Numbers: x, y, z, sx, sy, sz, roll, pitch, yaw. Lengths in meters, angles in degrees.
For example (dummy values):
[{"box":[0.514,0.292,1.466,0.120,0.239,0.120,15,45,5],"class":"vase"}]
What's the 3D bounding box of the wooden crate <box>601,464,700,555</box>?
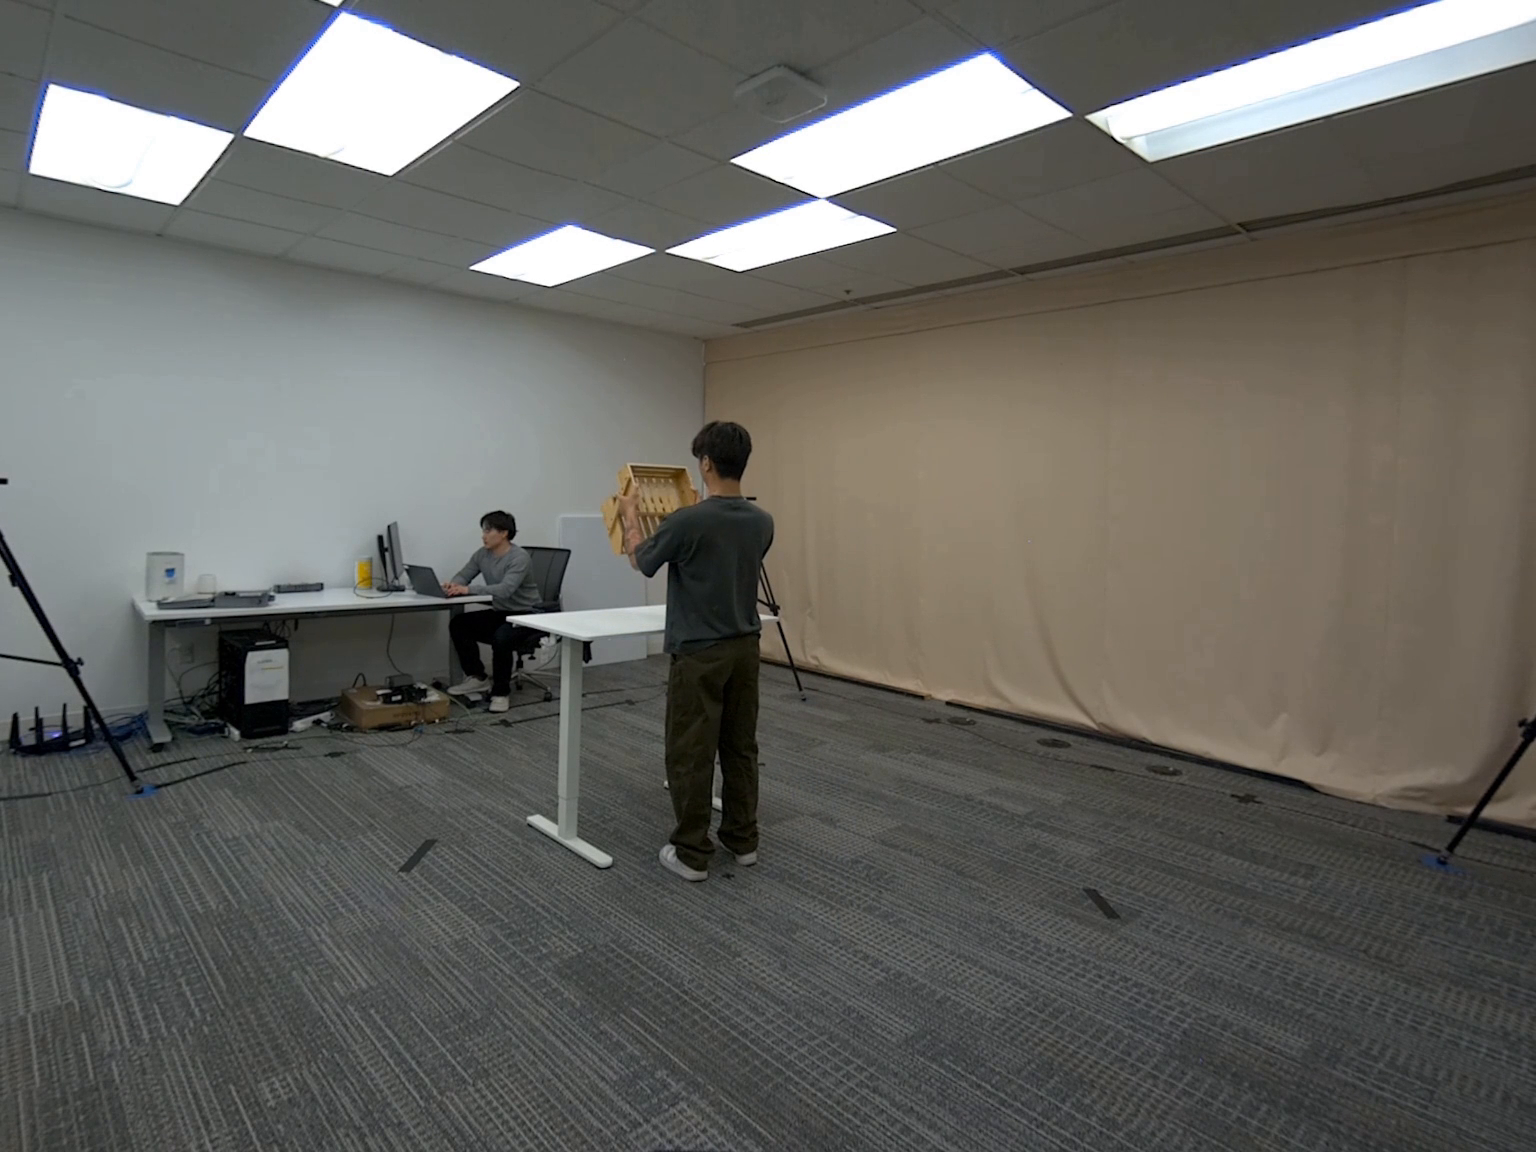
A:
[{"box":[-0.488,-0.265,3.494,0.317,0.307,0.274,-2,-26,-42],"class":"wooden crate"}]
